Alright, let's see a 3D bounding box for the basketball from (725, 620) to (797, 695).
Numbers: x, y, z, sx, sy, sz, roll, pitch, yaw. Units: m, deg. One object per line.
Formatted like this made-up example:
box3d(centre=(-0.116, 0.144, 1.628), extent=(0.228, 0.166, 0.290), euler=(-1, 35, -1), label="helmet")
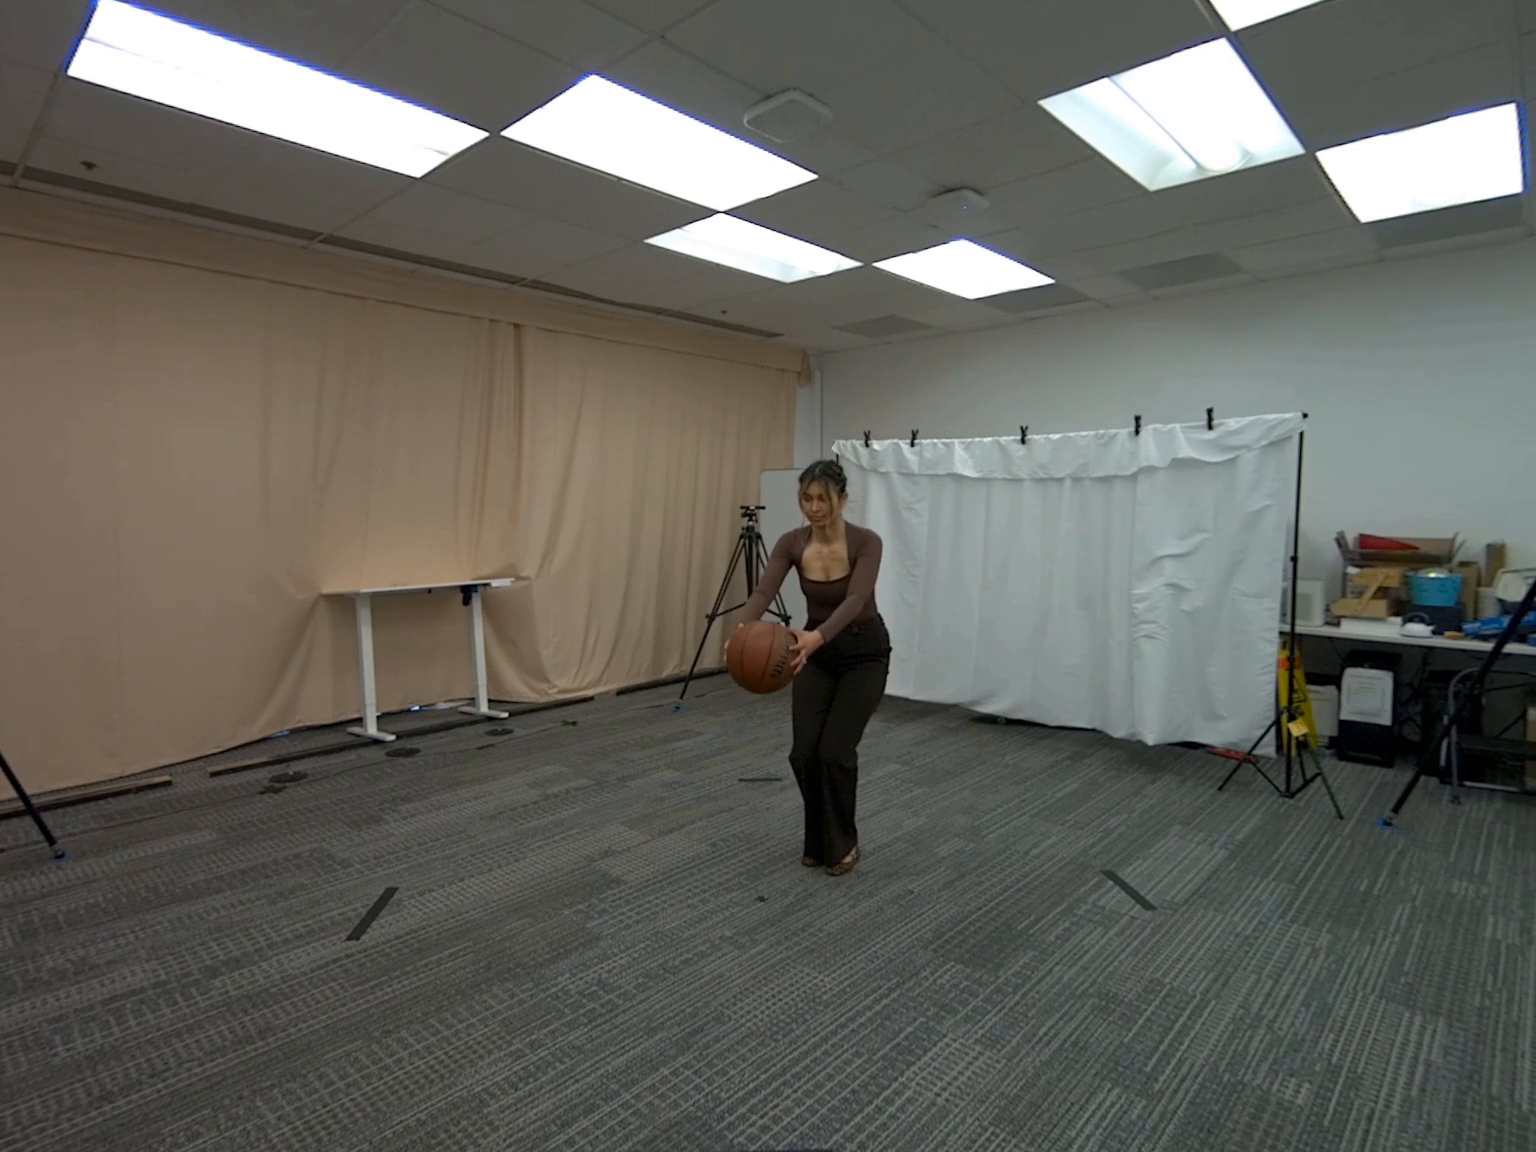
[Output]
box3d(centre=(-0.013, 0.267, 2.745), extent=(0.236, 0.235, 0.237), euler=(0, 4, -2), label="basketball")
